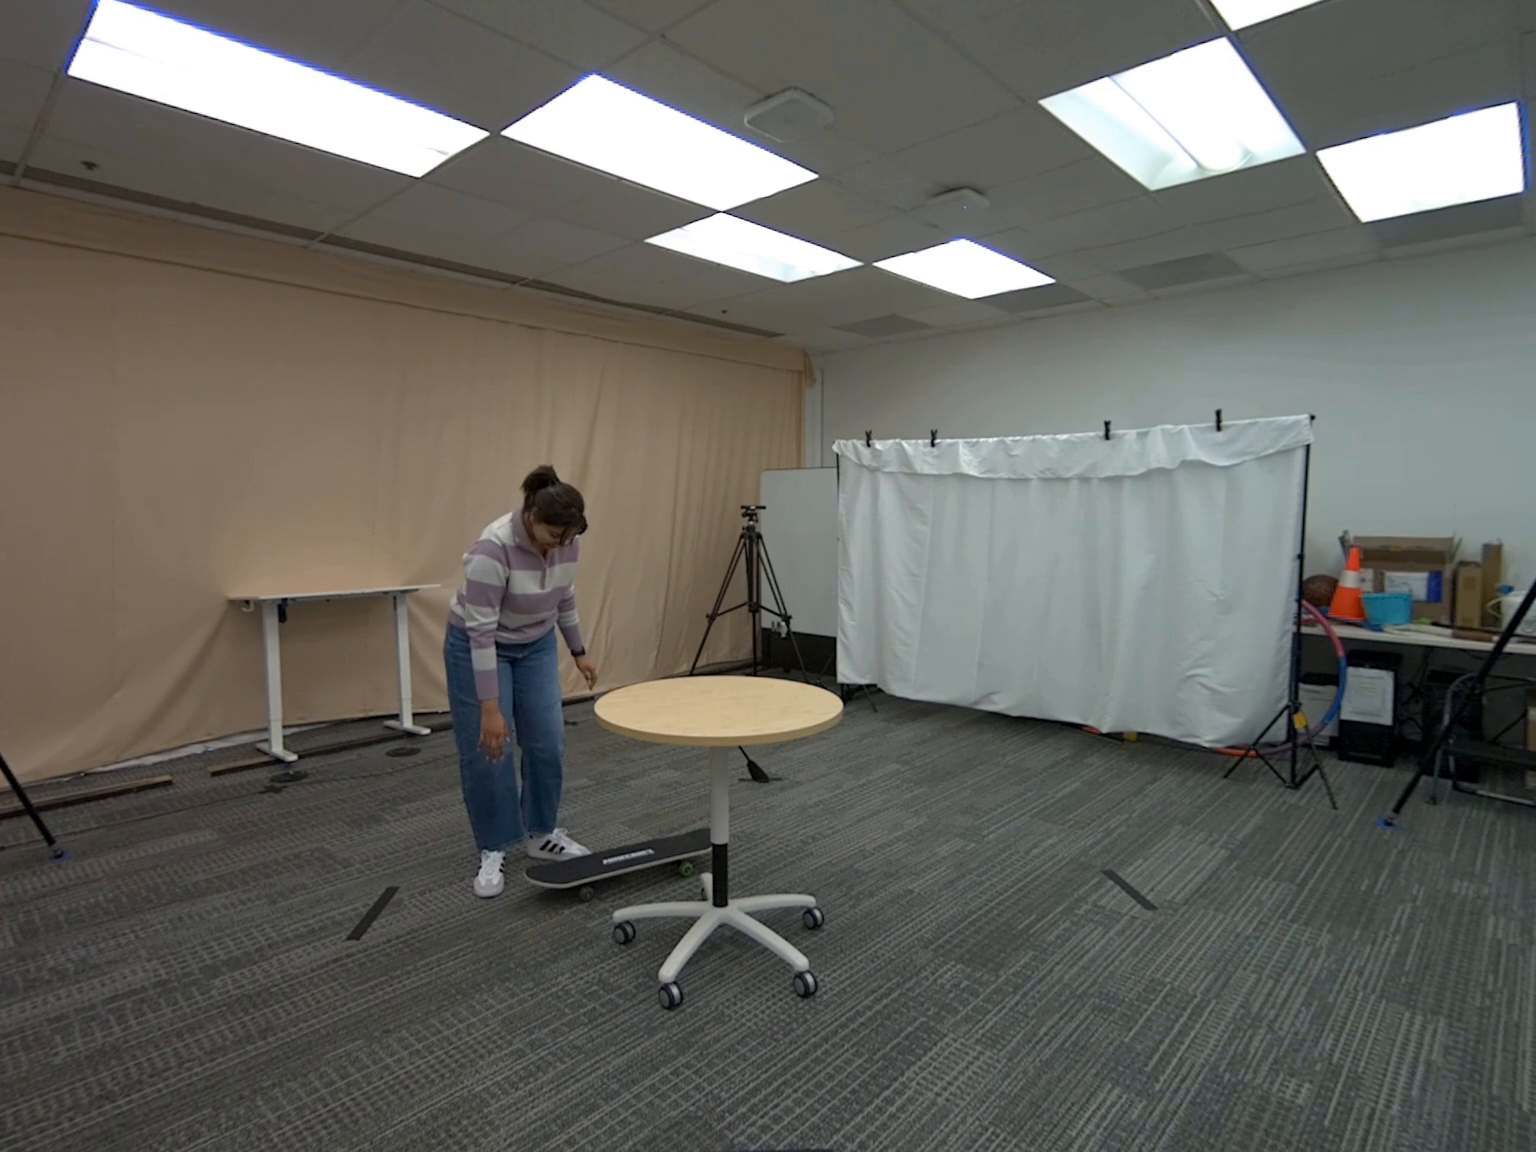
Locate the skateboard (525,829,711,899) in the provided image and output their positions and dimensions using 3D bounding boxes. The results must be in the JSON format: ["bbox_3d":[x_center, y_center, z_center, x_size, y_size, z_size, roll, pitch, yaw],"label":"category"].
[{"bbox_3d":[-0.522,1.079,3.136,0.765,0.110,0.199,-4,5,-30],"label":"skateboard"}]
